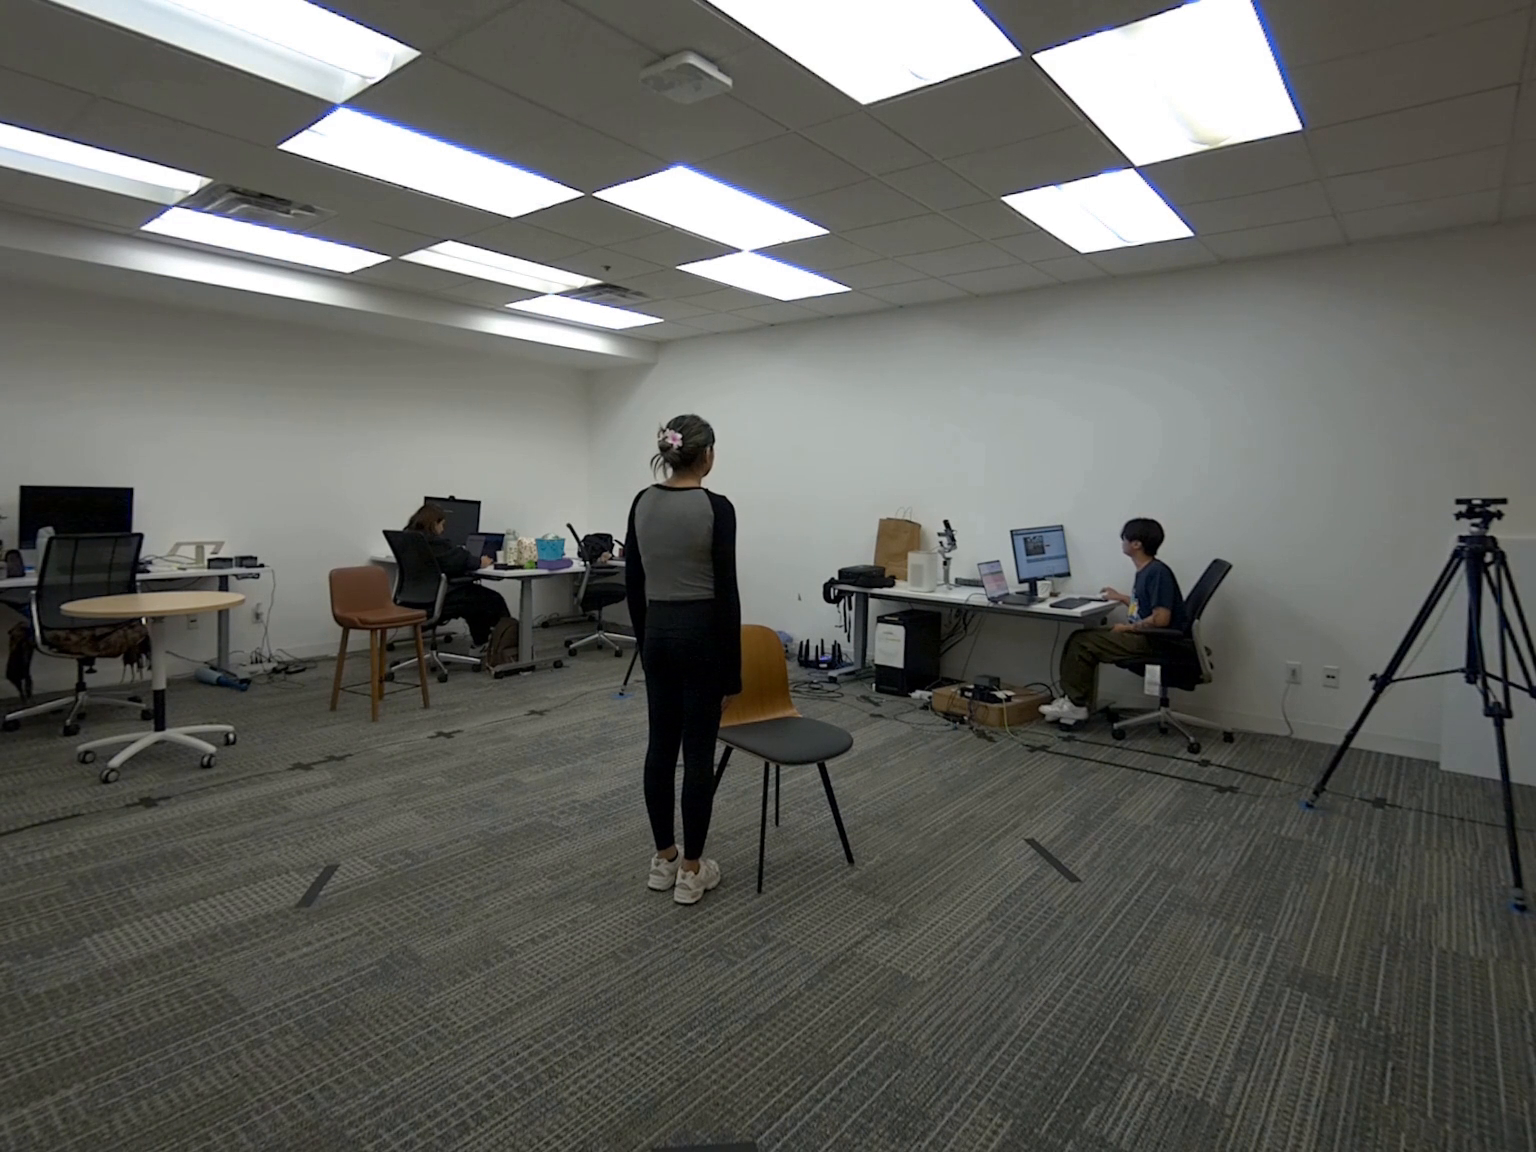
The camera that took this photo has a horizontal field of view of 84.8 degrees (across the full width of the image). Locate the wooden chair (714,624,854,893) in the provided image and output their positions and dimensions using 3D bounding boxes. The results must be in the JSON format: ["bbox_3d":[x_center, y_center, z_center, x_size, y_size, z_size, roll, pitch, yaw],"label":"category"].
[{"bbox_3d":[0.016,0.635,3.204,0.464,0.878,0.539,-1,-1,-38],"label":"wooden chair"}]
